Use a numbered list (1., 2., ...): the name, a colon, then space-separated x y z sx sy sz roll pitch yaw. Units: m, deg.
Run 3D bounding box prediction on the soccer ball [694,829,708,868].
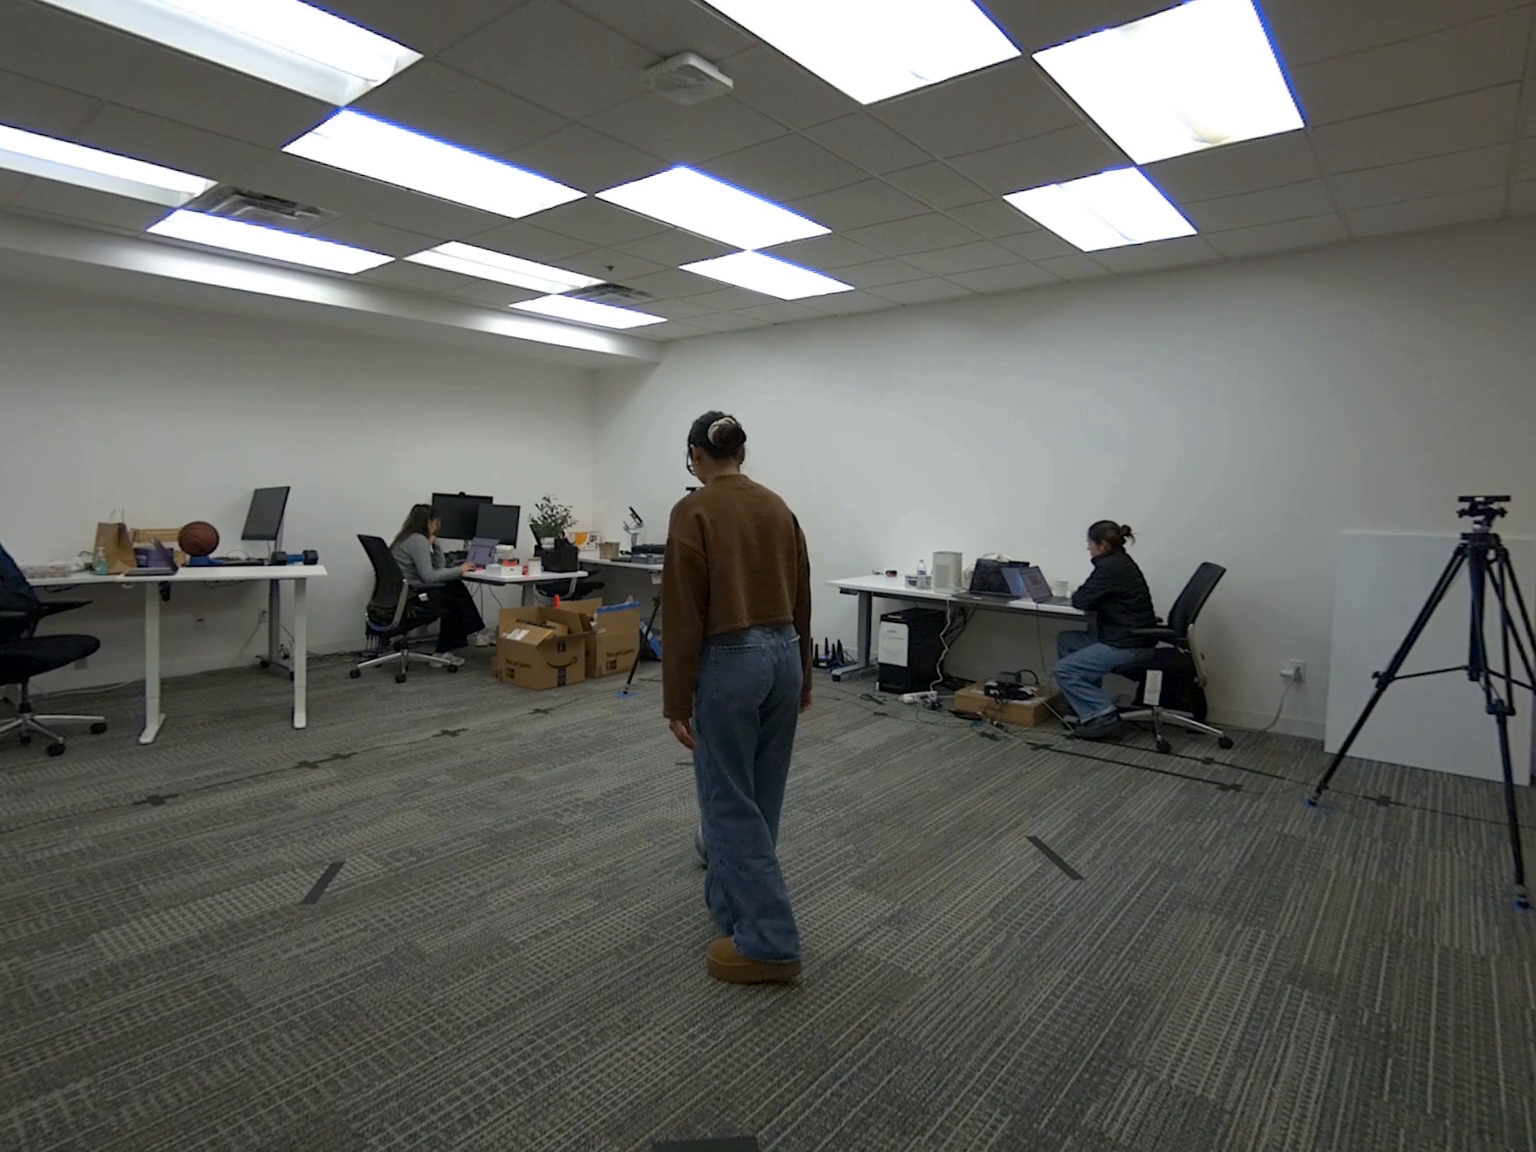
1. soccer ball: -0.184 0.962 3.149 0.187 0.187 0.188 1 4 -2
